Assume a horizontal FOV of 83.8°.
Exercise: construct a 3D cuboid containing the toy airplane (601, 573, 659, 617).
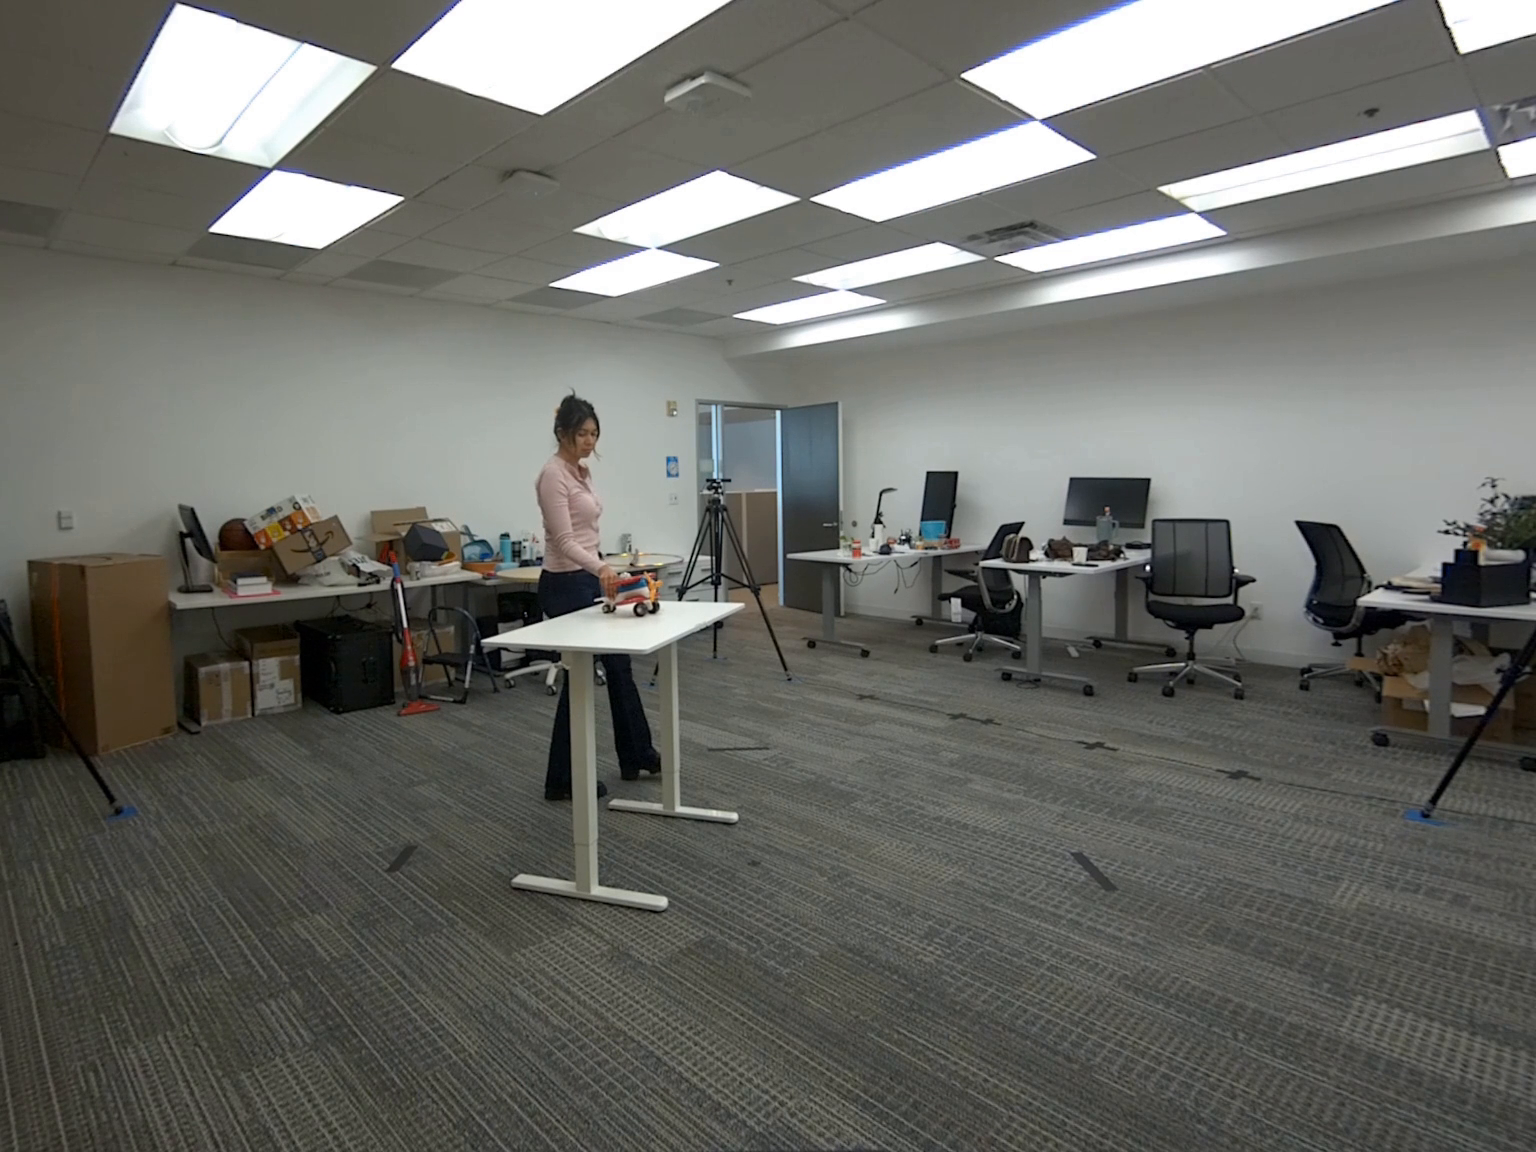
[{"bbox_3d":[-0.545,0.073,3.311,0.258,0.156,0.253,-1,4,-4],"label":"toy airplane"}]
